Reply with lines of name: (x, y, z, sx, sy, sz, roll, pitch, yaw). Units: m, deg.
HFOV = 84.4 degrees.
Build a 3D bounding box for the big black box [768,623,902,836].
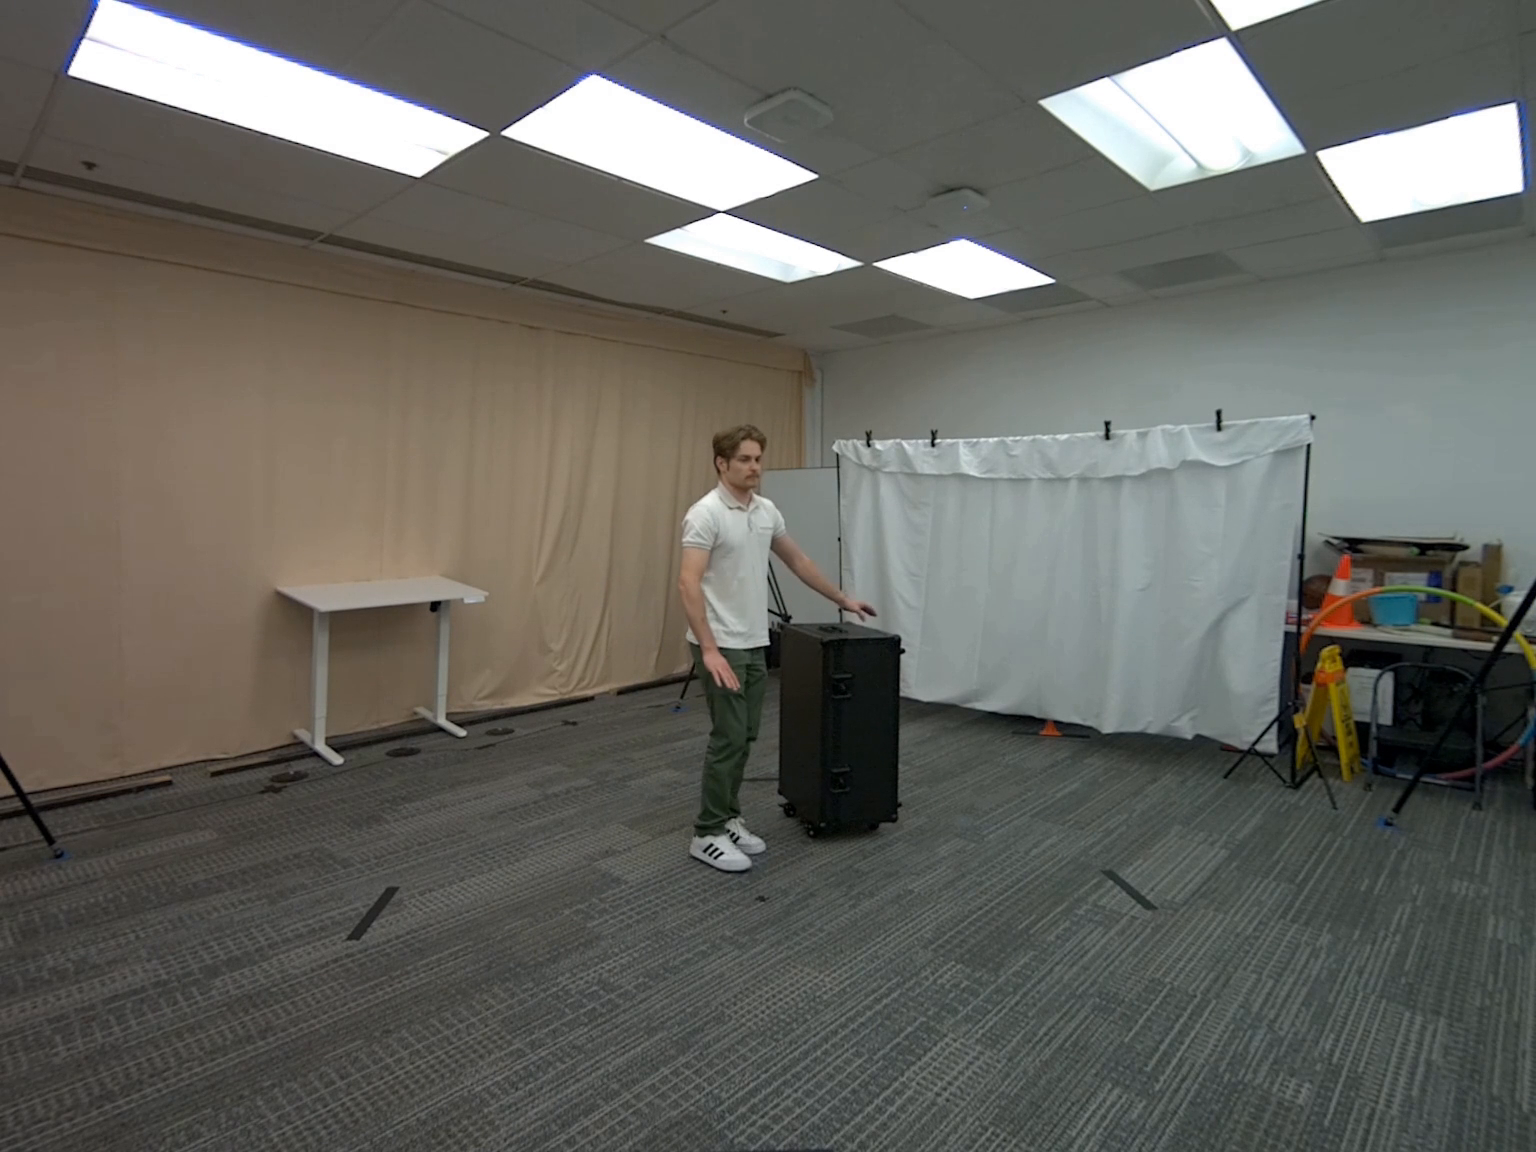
big black box: (0.306, 0.663, 3.695, 0.378, 0.867, 0.534, 0, 3, -20)
